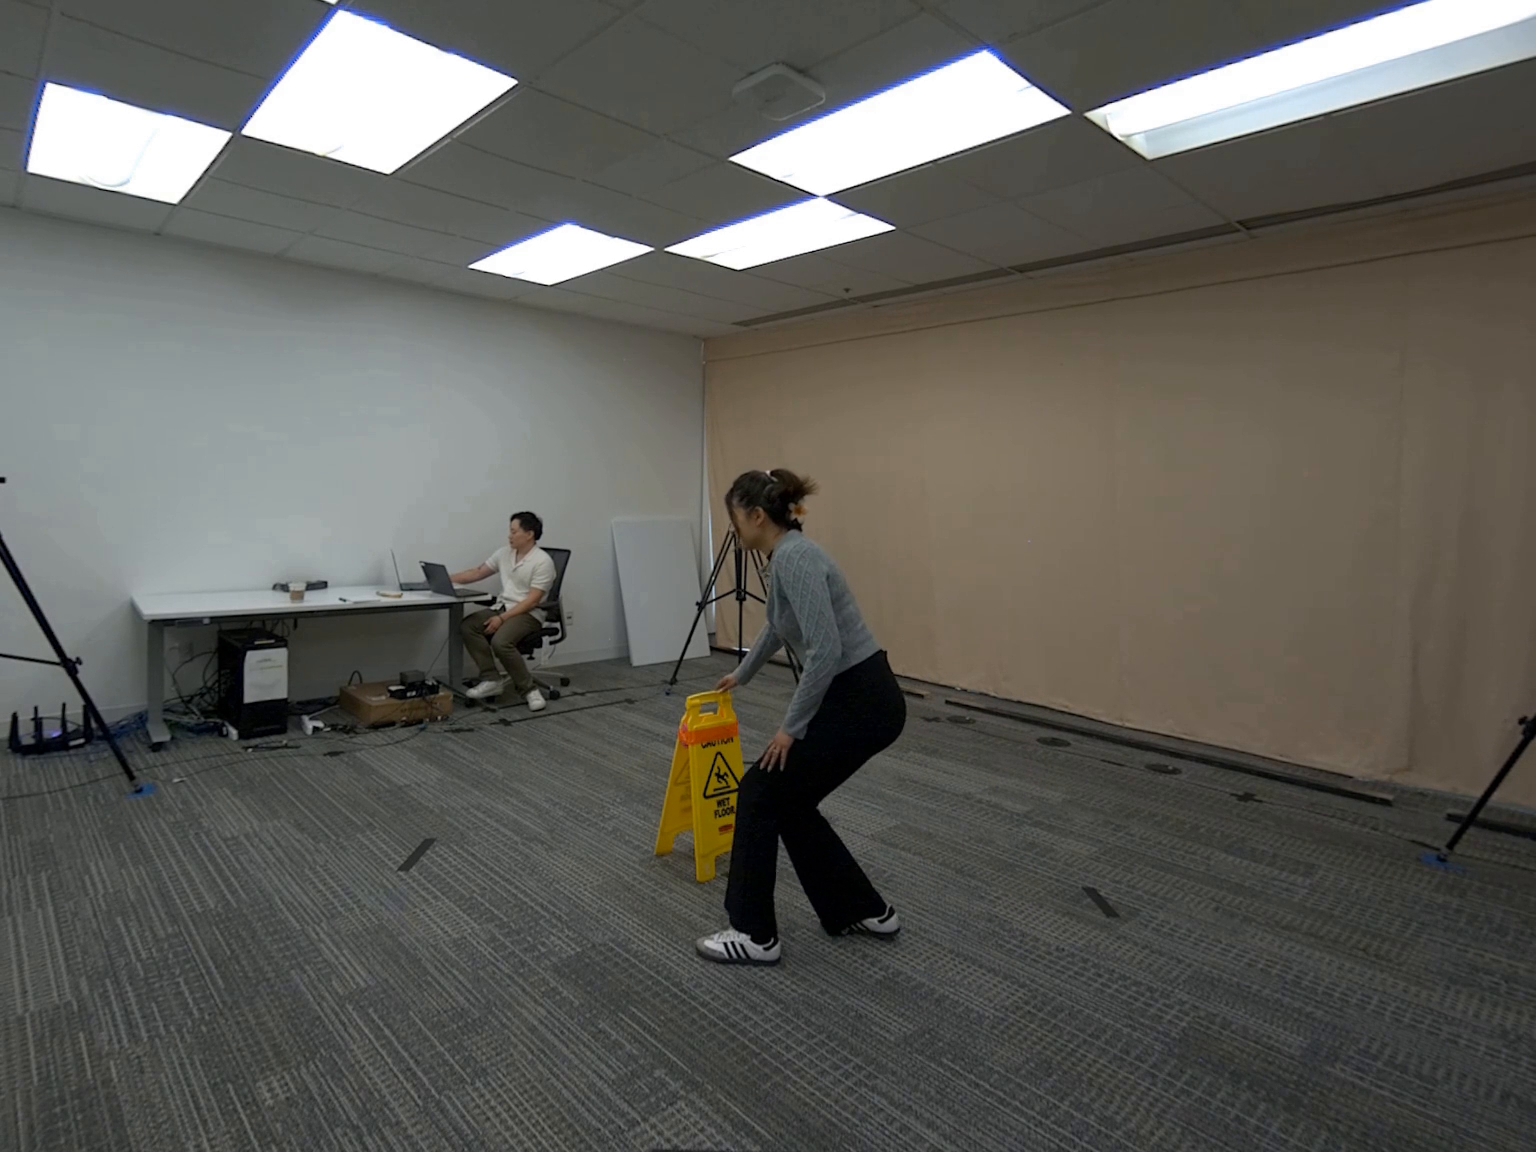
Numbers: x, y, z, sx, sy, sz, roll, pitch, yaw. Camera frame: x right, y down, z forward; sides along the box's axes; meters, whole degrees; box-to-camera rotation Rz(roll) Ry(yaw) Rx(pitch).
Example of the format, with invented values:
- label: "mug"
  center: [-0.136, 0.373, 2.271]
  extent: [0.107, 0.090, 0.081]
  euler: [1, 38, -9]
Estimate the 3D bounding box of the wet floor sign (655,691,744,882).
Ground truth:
- label: "wet floor sign"
  center: [-0.241, 0.767, 3.210]
  extent: [0.276, 0.645, 0.297]
  euler: [-1, 4, -40]
